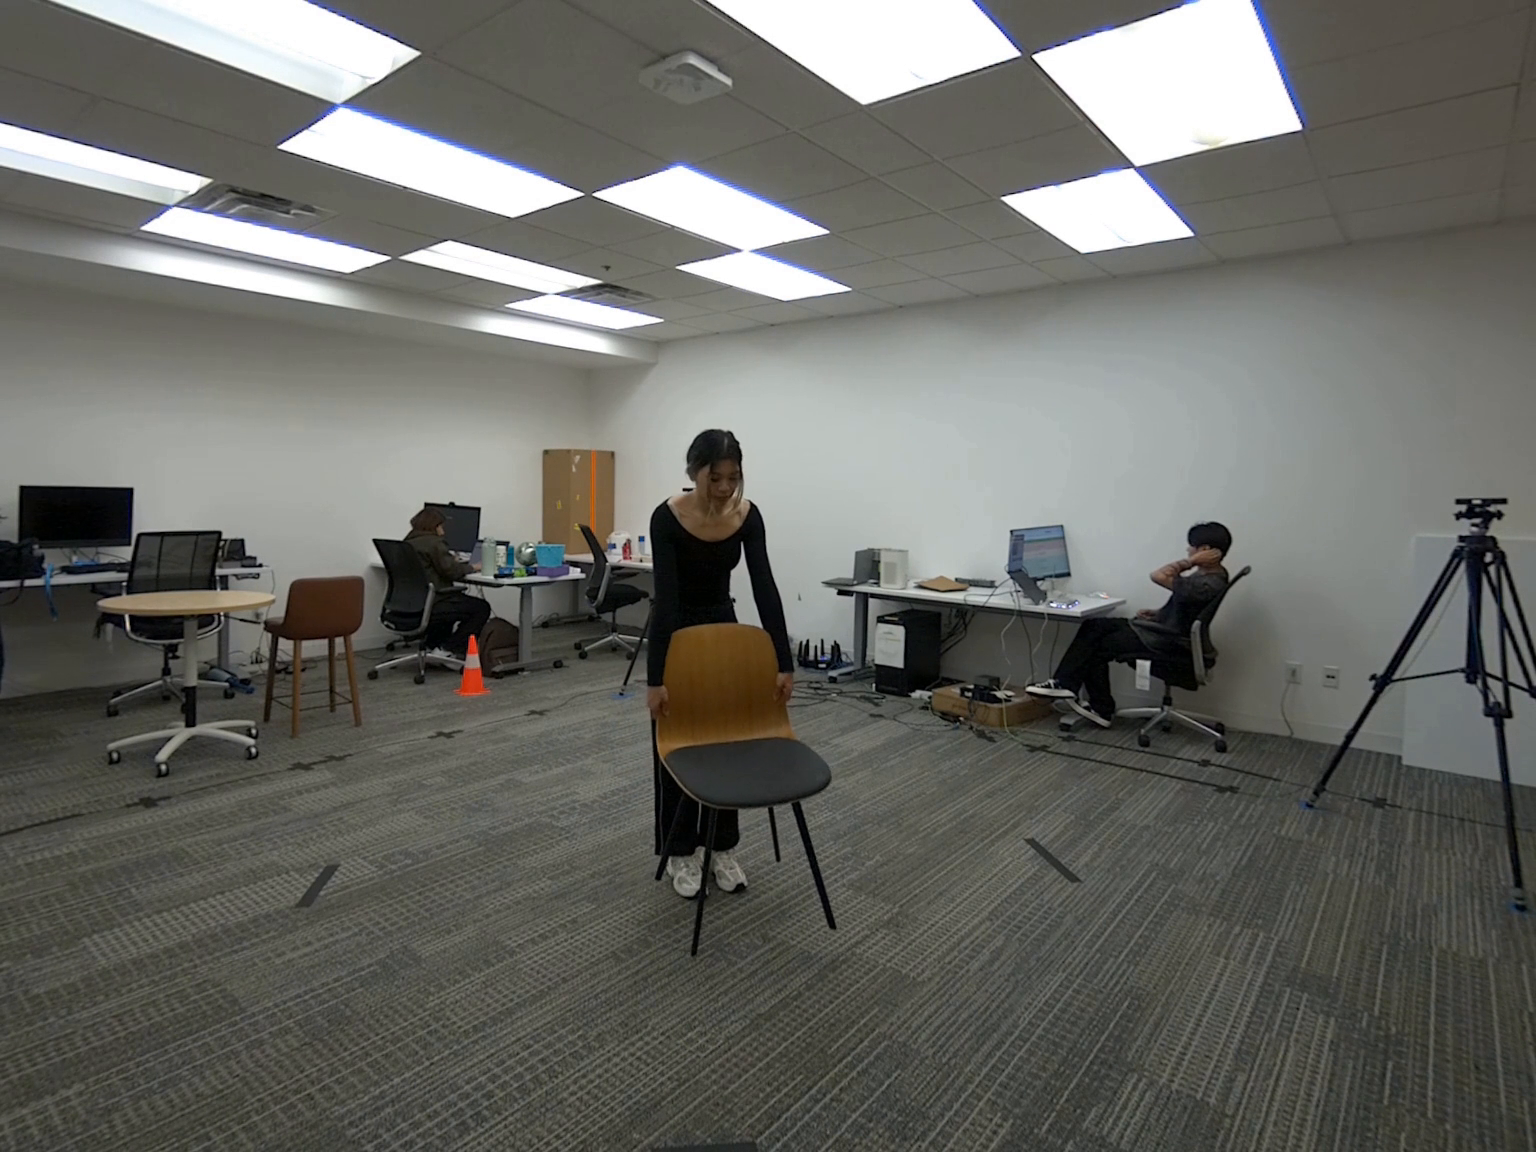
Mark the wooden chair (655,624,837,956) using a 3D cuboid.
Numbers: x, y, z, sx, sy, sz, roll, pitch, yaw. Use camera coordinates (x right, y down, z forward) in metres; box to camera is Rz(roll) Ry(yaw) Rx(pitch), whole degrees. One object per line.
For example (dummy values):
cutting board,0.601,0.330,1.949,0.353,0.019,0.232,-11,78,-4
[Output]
wooden chair,-0.084,0.618,2.643,0.469,0.876,0.534,-2,2,-20
